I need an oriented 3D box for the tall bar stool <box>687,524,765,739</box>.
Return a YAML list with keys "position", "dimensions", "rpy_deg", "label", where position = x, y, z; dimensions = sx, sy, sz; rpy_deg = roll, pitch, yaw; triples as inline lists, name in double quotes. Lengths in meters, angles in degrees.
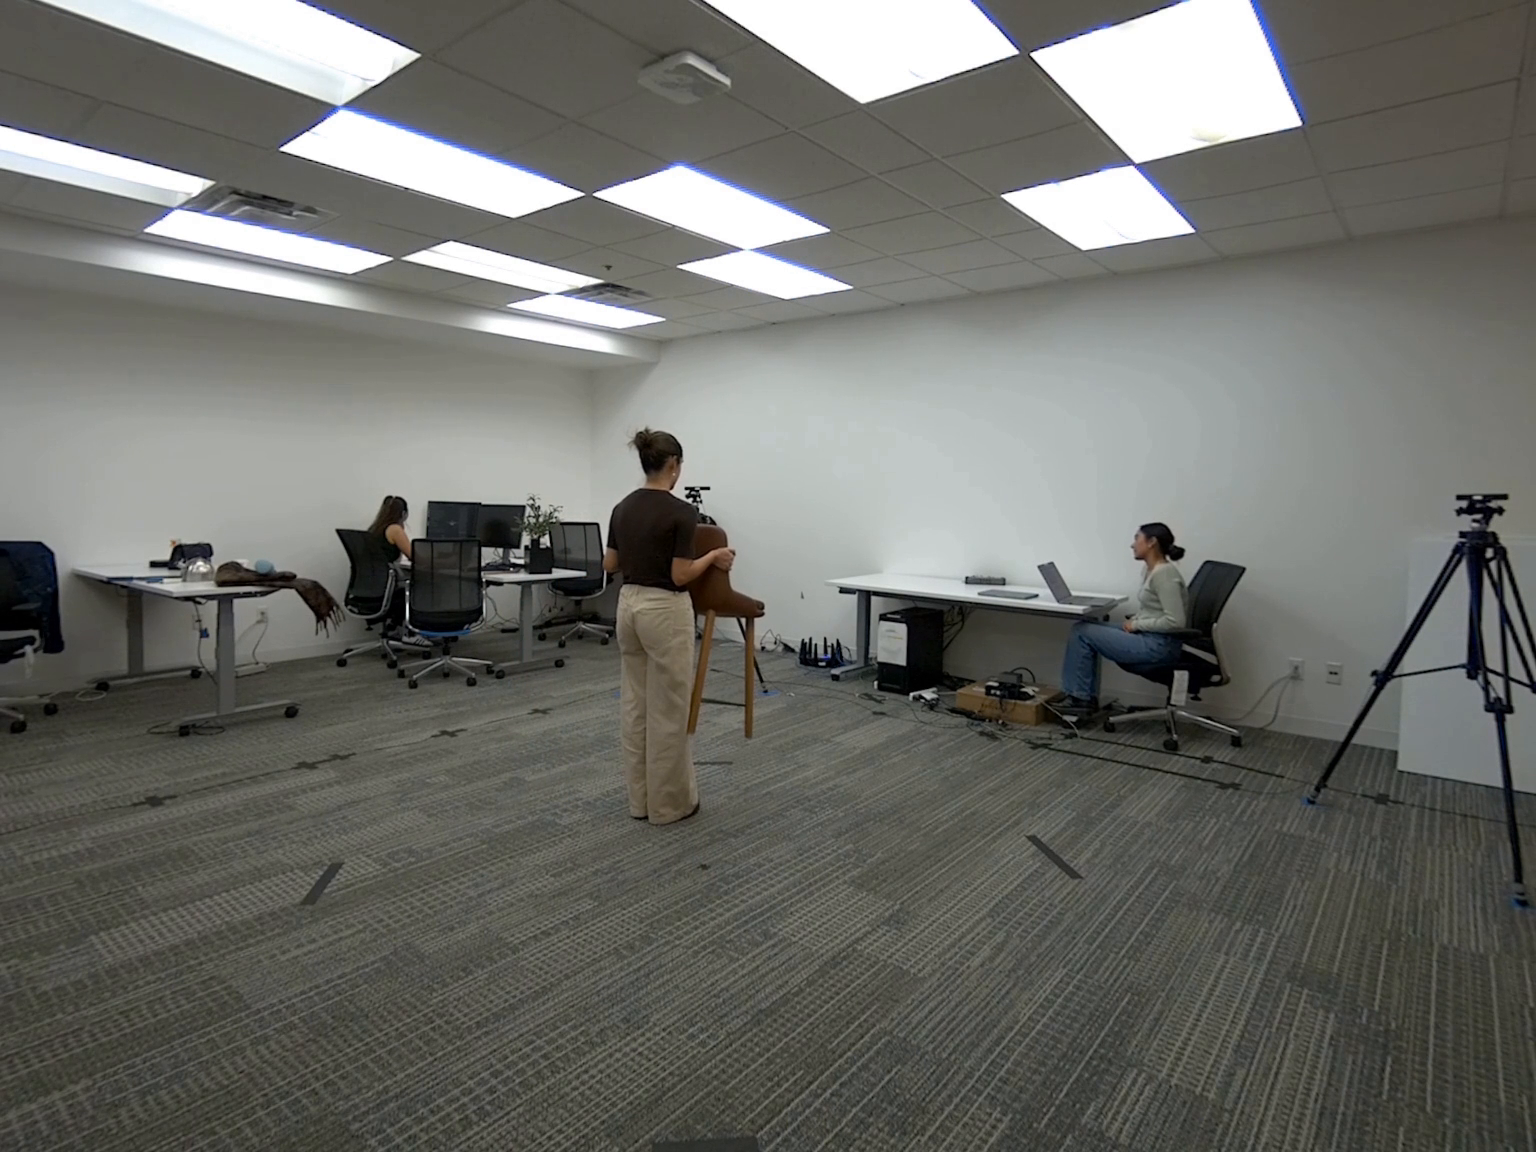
- position: [-0.315, 0.248, 3.817]
  dimensions: [0.470, 0.896, 0.450]
  rpy_deg: [0, -10, 34]
  label: "tall bar stool"
